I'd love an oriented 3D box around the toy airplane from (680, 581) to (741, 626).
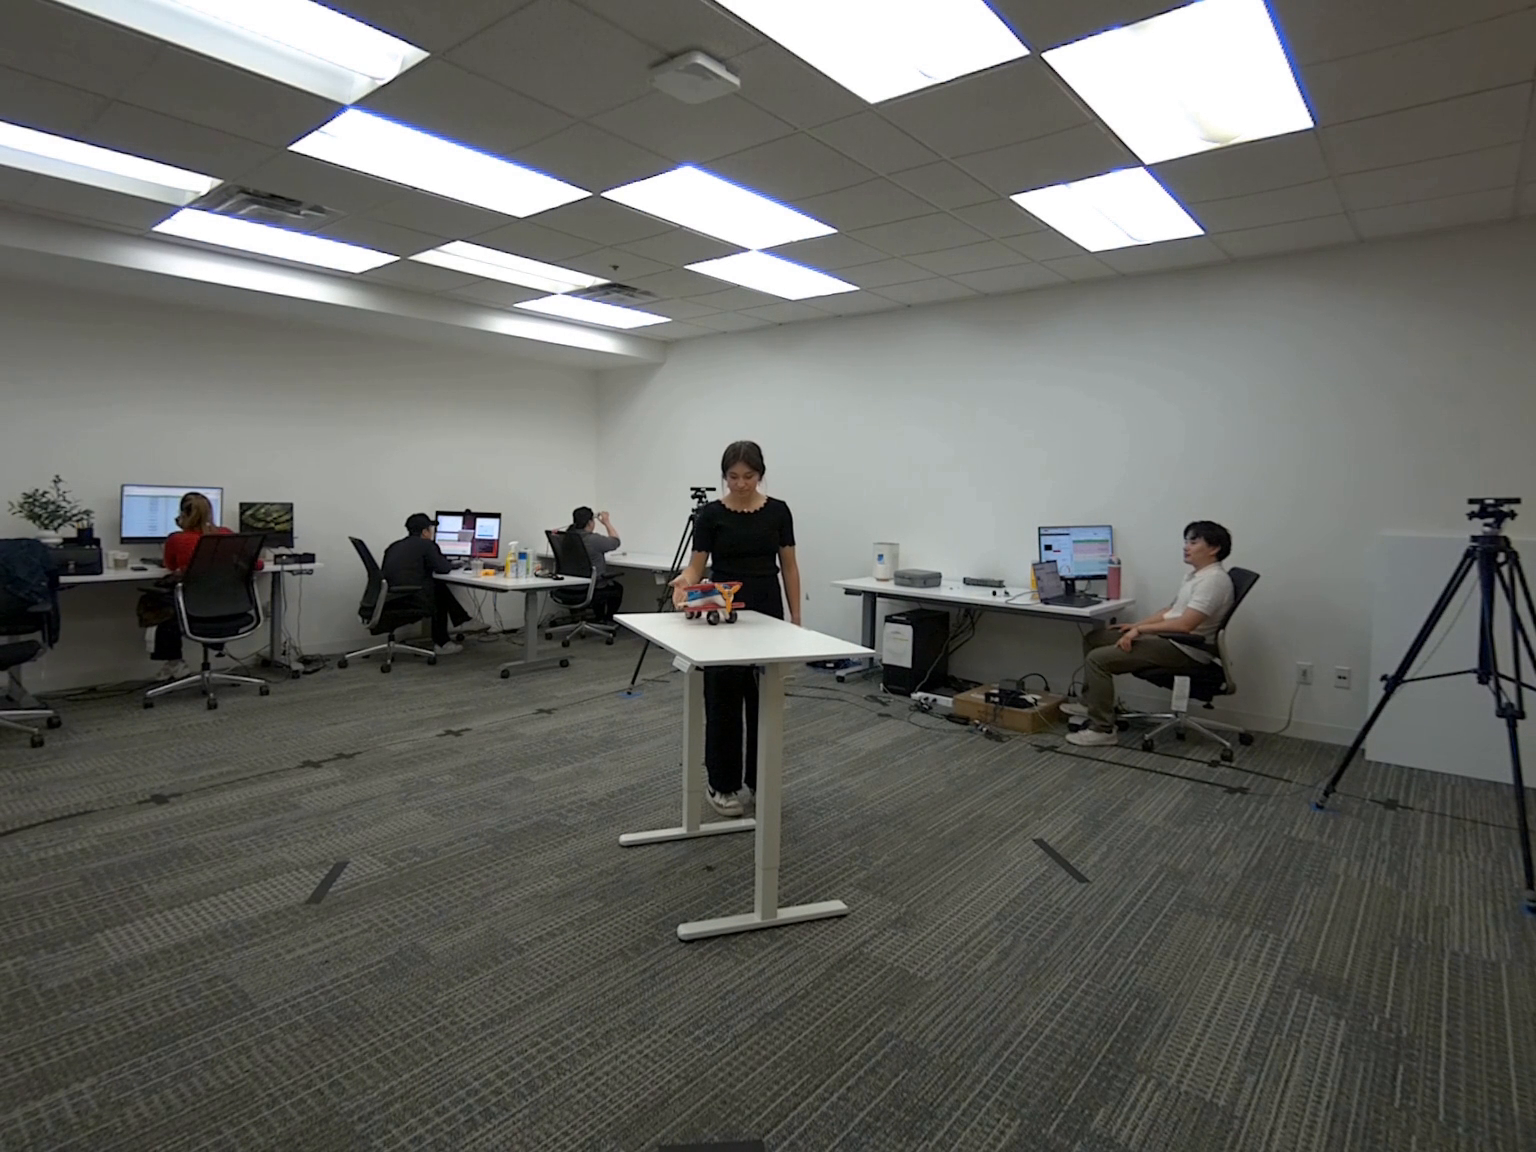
[{"bbox_3d":[-0.251,0.094,3.243,0.265,0.156,0.246,4,3,22],"label":"toy airplane"}]
